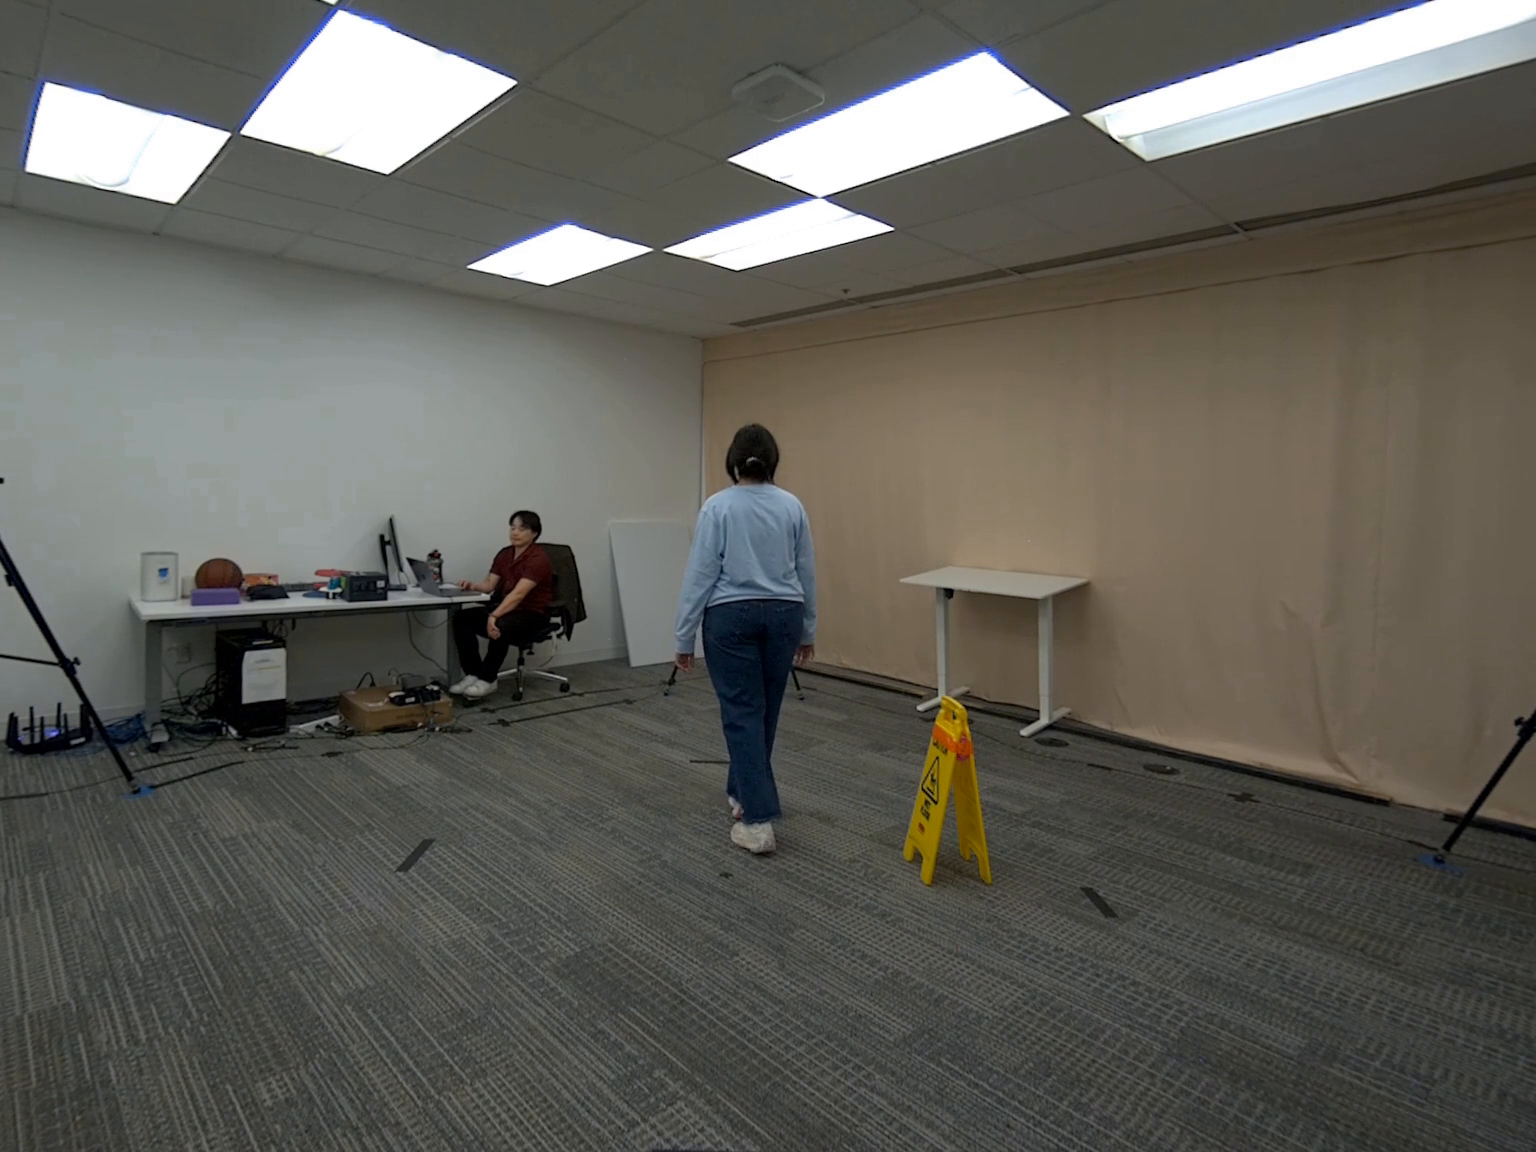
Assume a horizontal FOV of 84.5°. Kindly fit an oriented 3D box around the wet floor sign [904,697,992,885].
[{"bbox_3d":[0.682,0.792,3.187,0.288,0.645,0.284,1,2,-8],"label":"wet floor sign"}]
